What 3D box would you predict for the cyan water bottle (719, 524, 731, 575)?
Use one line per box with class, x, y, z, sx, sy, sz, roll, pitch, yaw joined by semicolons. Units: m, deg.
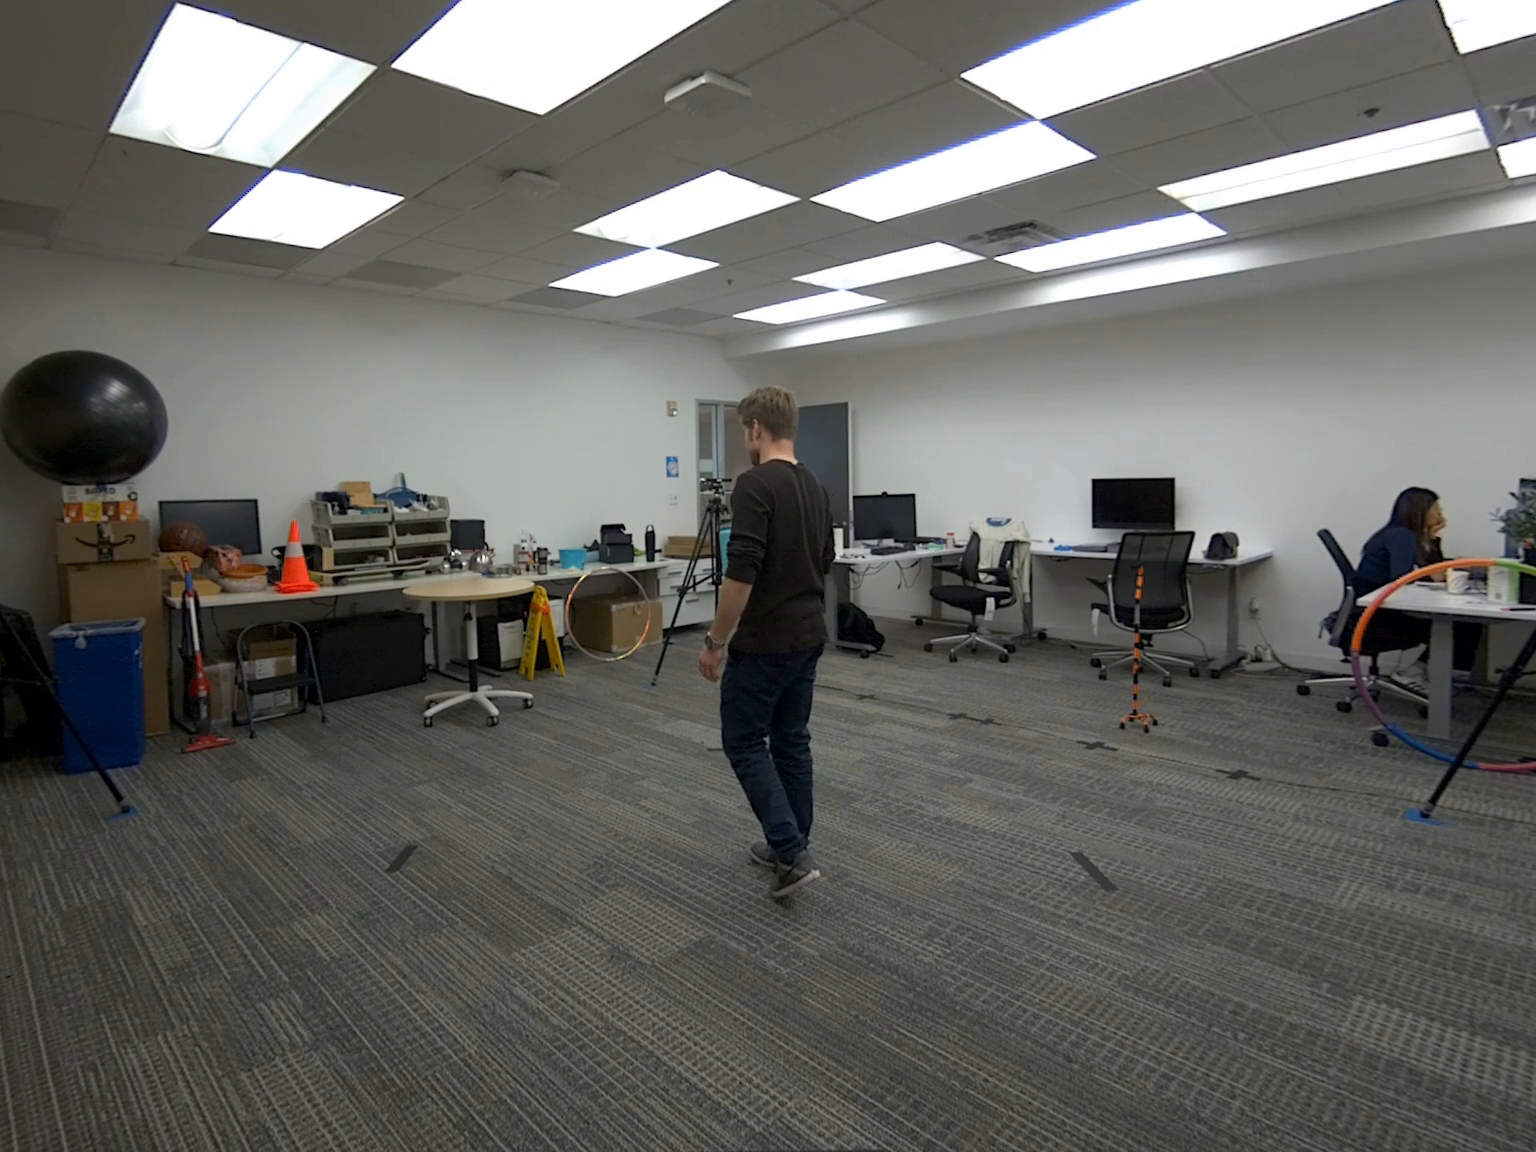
cyan water bottle;-0.126;-0.091;3.268;0.092;0.285;0.092;-4;-5;-2
